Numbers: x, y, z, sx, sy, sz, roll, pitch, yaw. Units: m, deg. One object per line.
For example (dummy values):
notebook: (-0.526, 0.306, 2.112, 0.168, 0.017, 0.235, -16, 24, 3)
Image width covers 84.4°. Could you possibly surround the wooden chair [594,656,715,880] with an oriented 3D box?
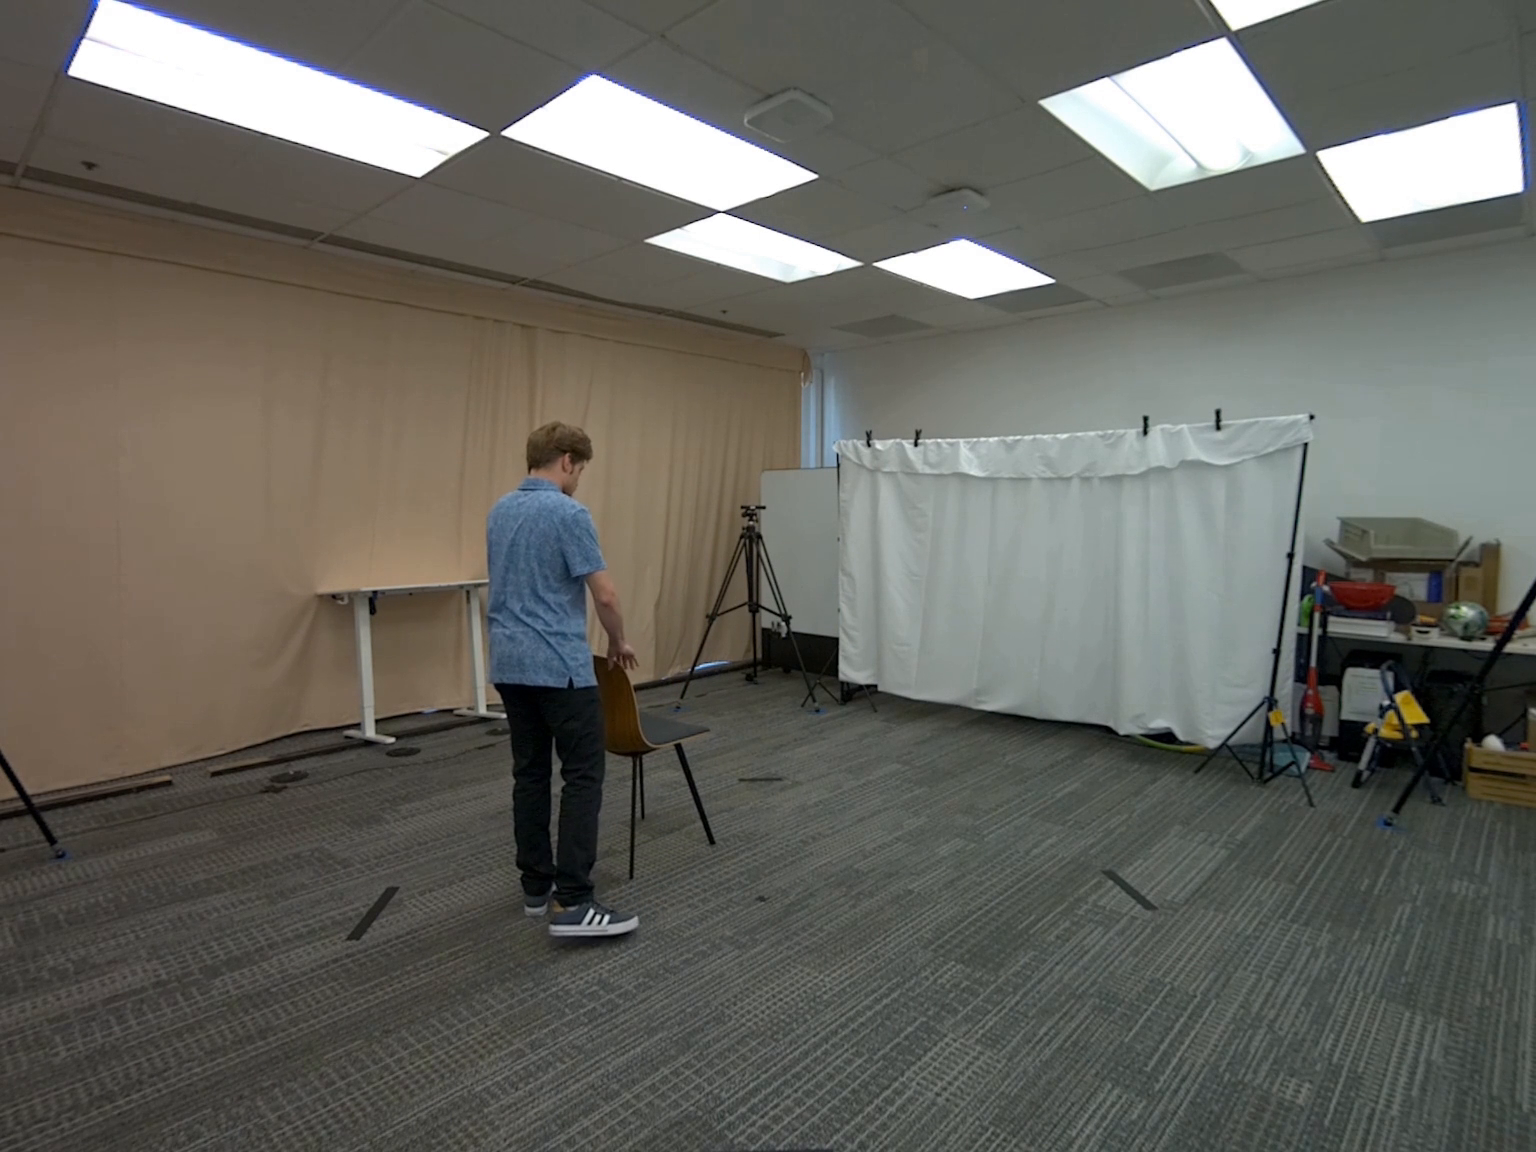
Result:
wooden chair: (-0.532, 0.681, 3.432, 0.494, 0.873, 0.508, 2, 9, 43)
